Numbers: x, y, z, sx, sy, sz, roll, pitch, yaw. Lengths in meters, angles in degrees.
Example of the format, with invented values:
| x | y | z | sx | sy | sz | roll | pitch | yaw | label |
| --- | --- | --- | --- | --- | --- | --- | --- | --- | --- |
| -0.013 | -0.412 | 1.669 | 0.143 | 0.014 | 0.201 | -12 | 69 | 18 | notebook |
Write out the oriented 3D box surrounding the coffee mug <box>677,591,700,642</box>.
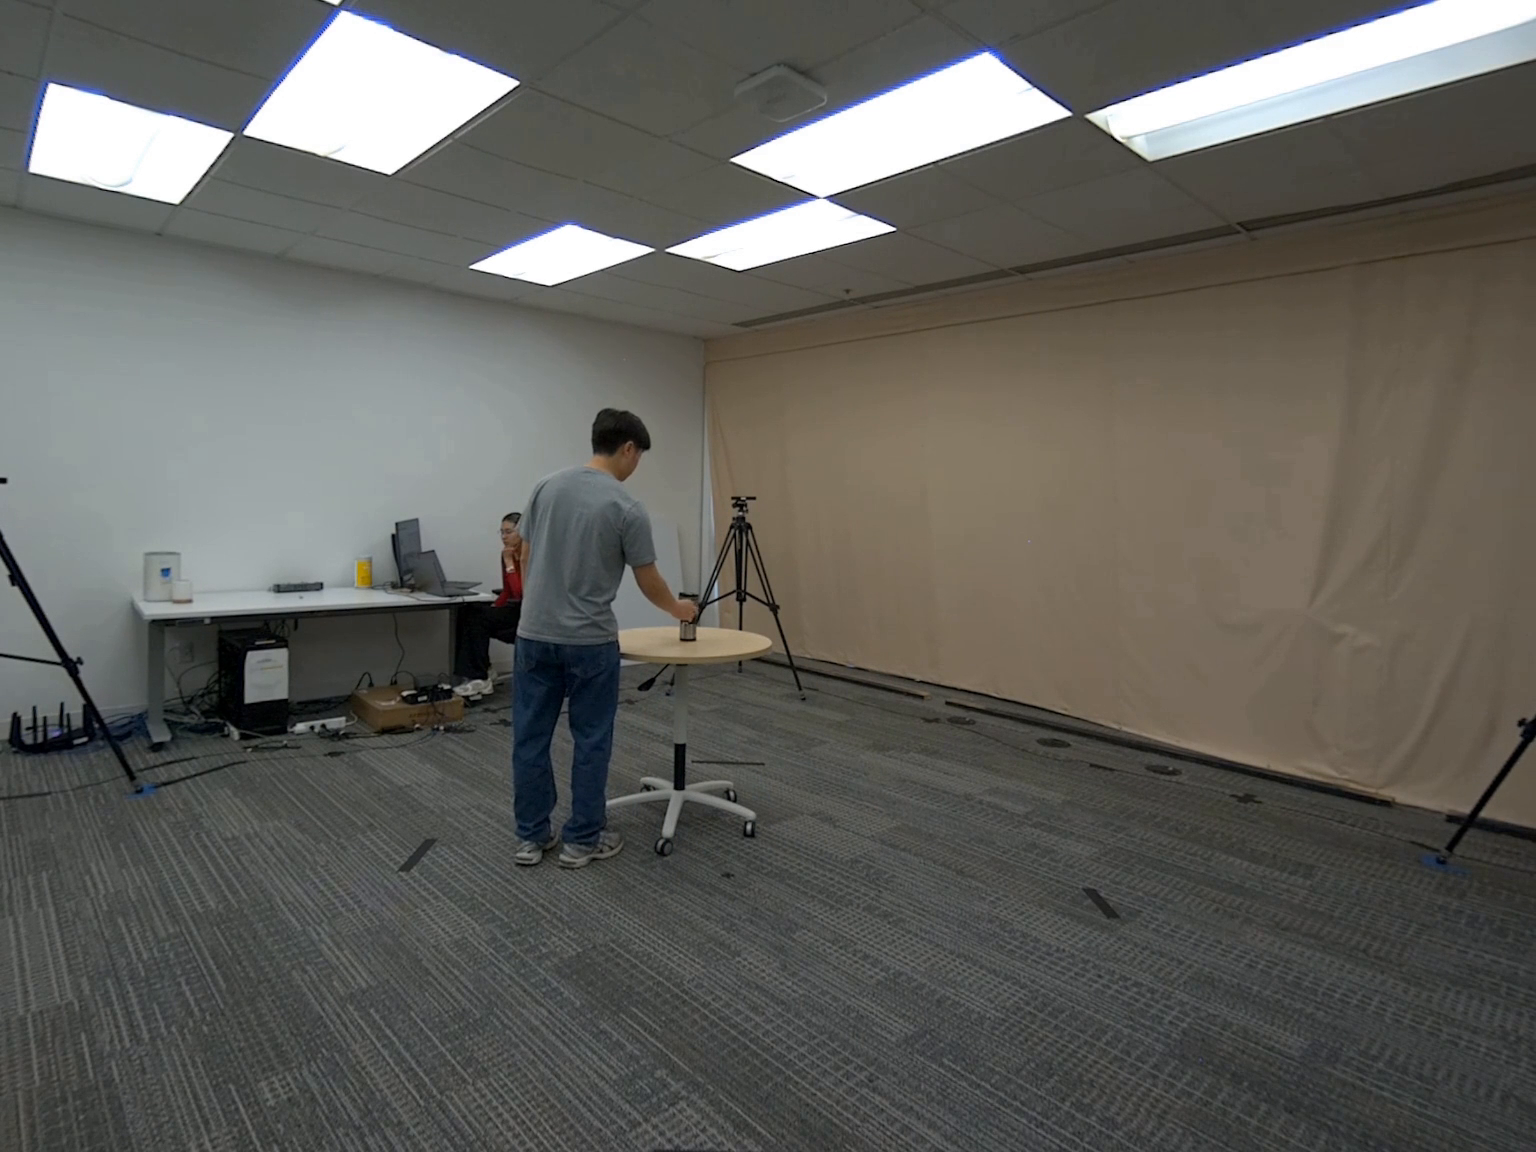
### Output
| x | y | z | sx | sy | sz | roll | pitch | yaw | label |
| --- | --- | --- | --- | --- | --- | --- | --- | --- | --- |
| -0.361 | 0.174 | 3.567 | 0.090 | 0.203 | 0.119 | 7 | 2 | 38 | coffee mug |
